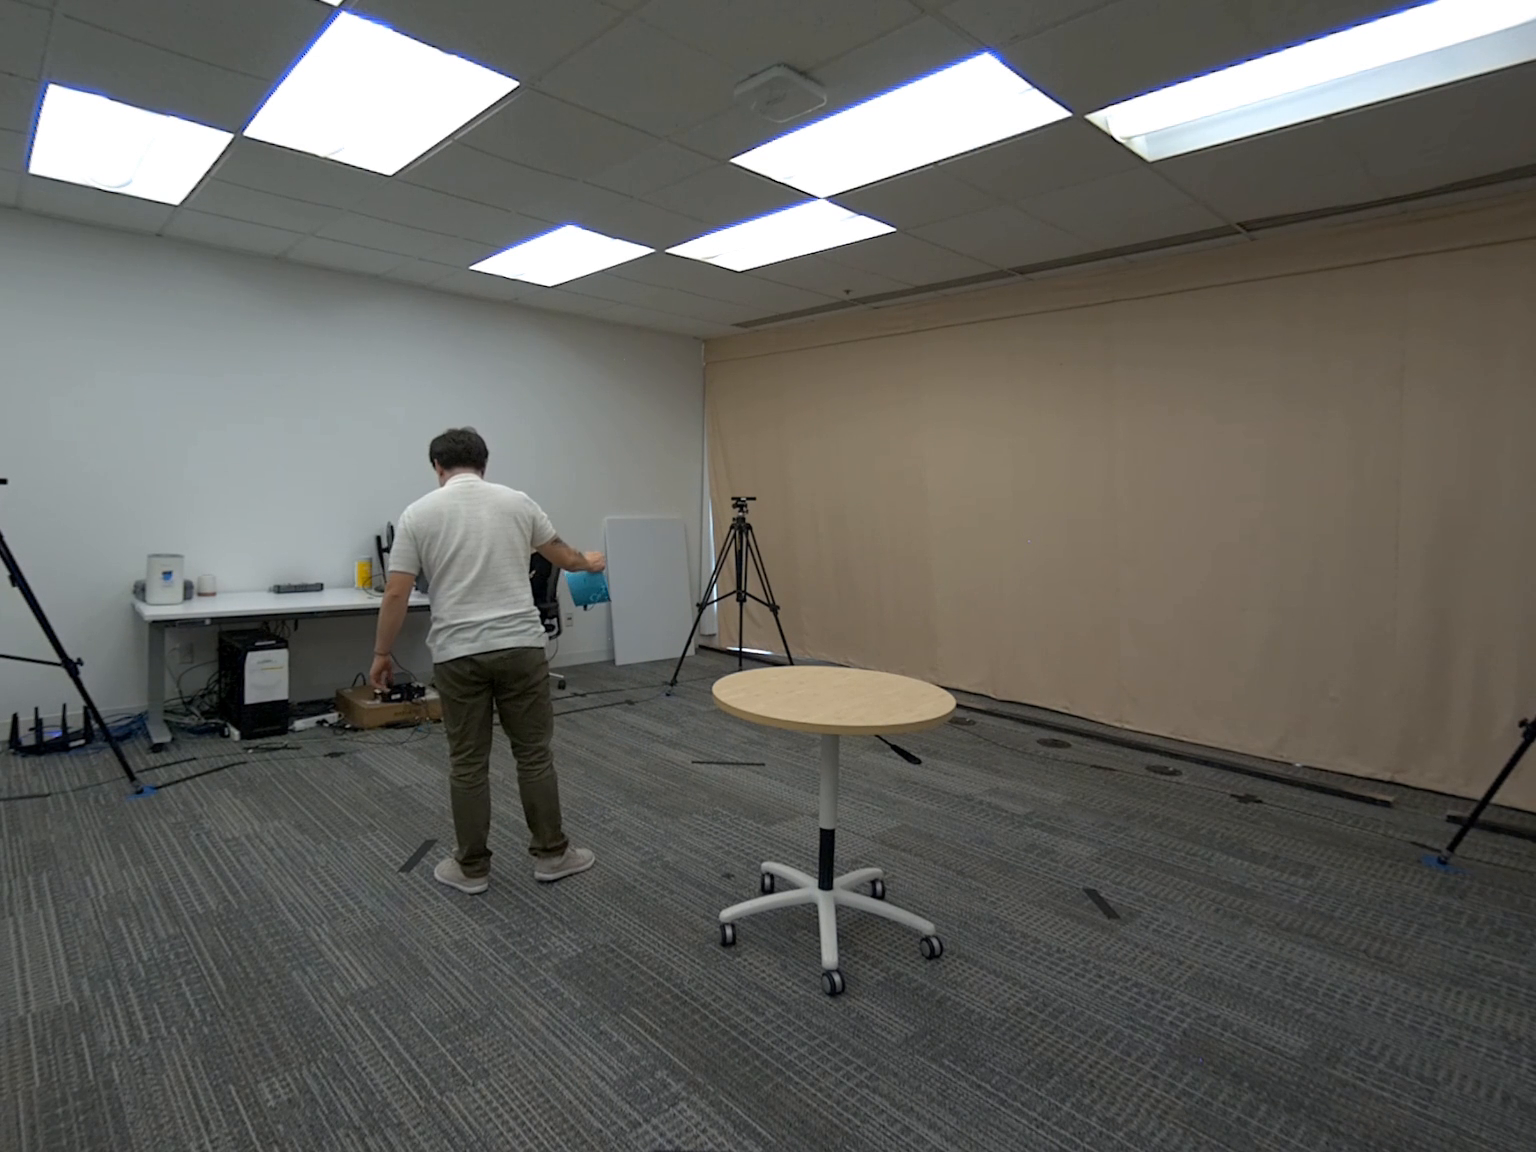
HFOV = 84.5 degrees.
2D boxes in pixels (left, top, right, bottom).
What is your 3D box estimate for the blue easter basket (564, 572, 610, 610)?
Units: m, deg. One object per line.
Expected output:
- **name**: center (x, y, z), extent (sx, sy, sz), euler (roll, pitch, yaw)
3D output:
- **blue easter basket**: center (-0.780, 0.034, 3.607), extent (0.155, 0.242, 0.245), euler (-13, 6, -6)
